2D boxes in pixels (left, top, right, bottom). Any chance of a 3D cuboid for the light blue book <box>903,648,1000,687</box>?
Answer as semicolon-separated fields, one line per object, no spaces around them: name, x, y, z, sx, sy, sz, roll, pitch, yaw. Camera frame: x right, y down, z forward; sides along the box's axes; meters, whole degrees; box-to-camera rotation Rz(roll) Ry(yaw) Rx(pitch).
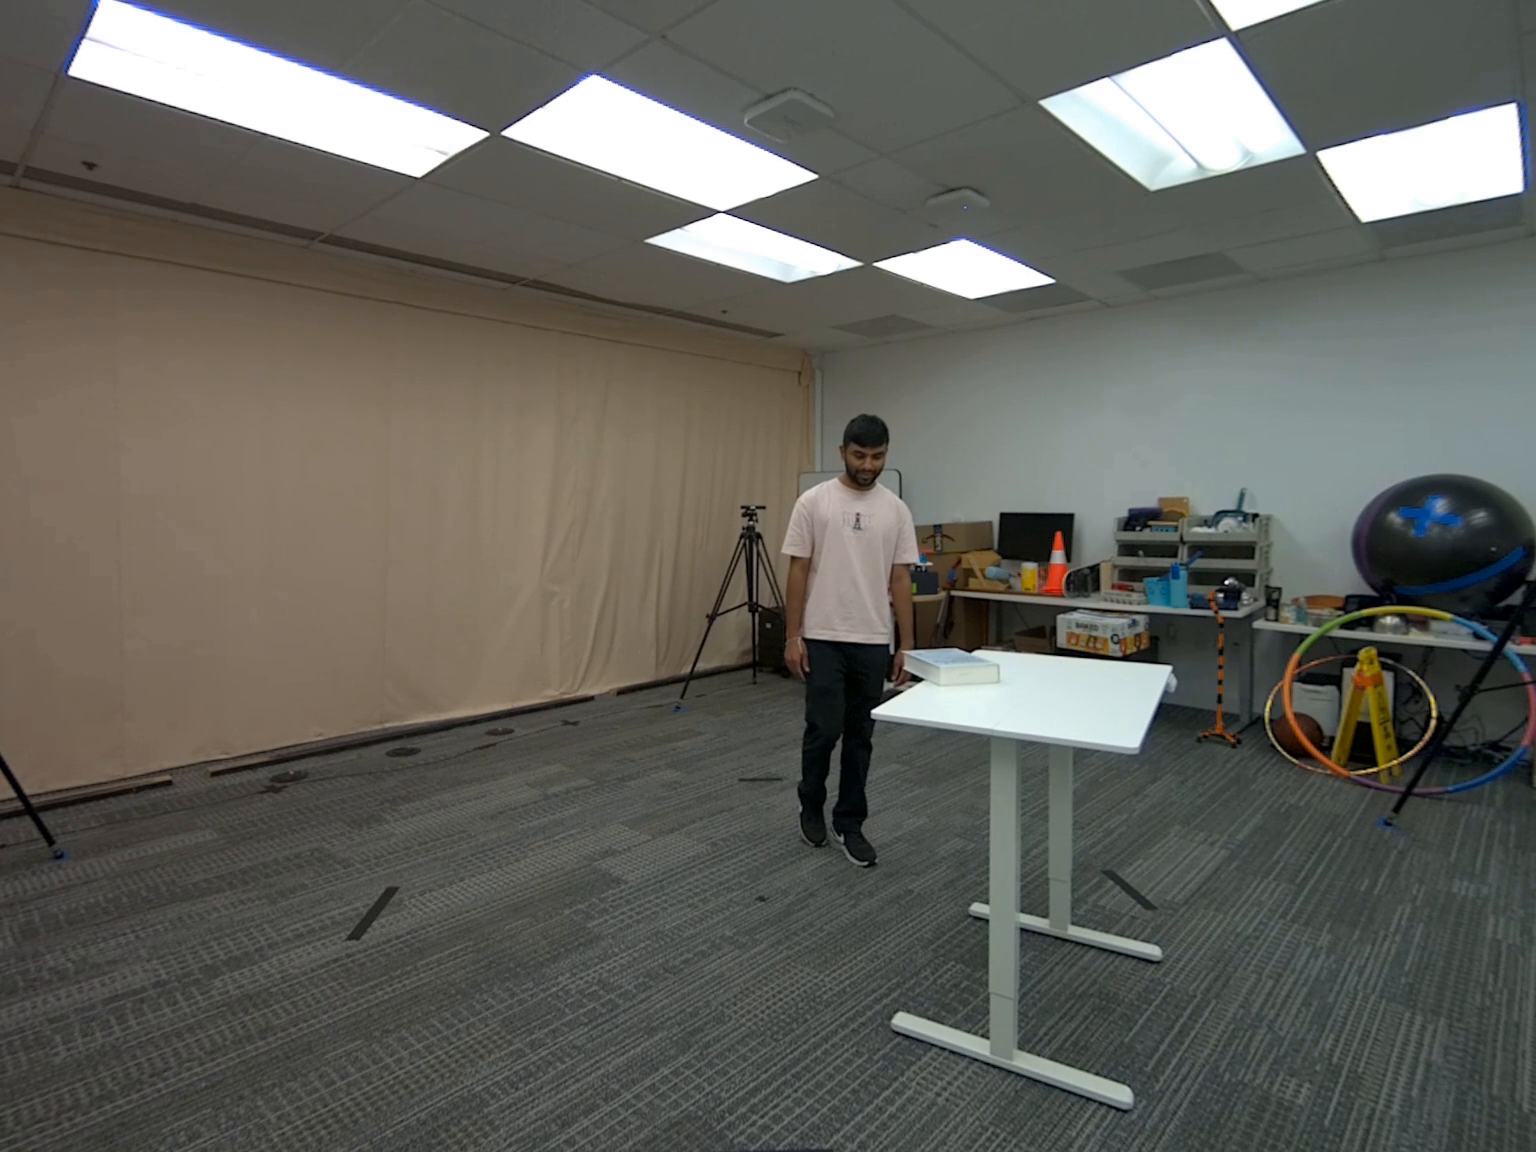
light blue book;0.569;0.272;2.518;0.189;0.059;0.265;-1;5;-15
